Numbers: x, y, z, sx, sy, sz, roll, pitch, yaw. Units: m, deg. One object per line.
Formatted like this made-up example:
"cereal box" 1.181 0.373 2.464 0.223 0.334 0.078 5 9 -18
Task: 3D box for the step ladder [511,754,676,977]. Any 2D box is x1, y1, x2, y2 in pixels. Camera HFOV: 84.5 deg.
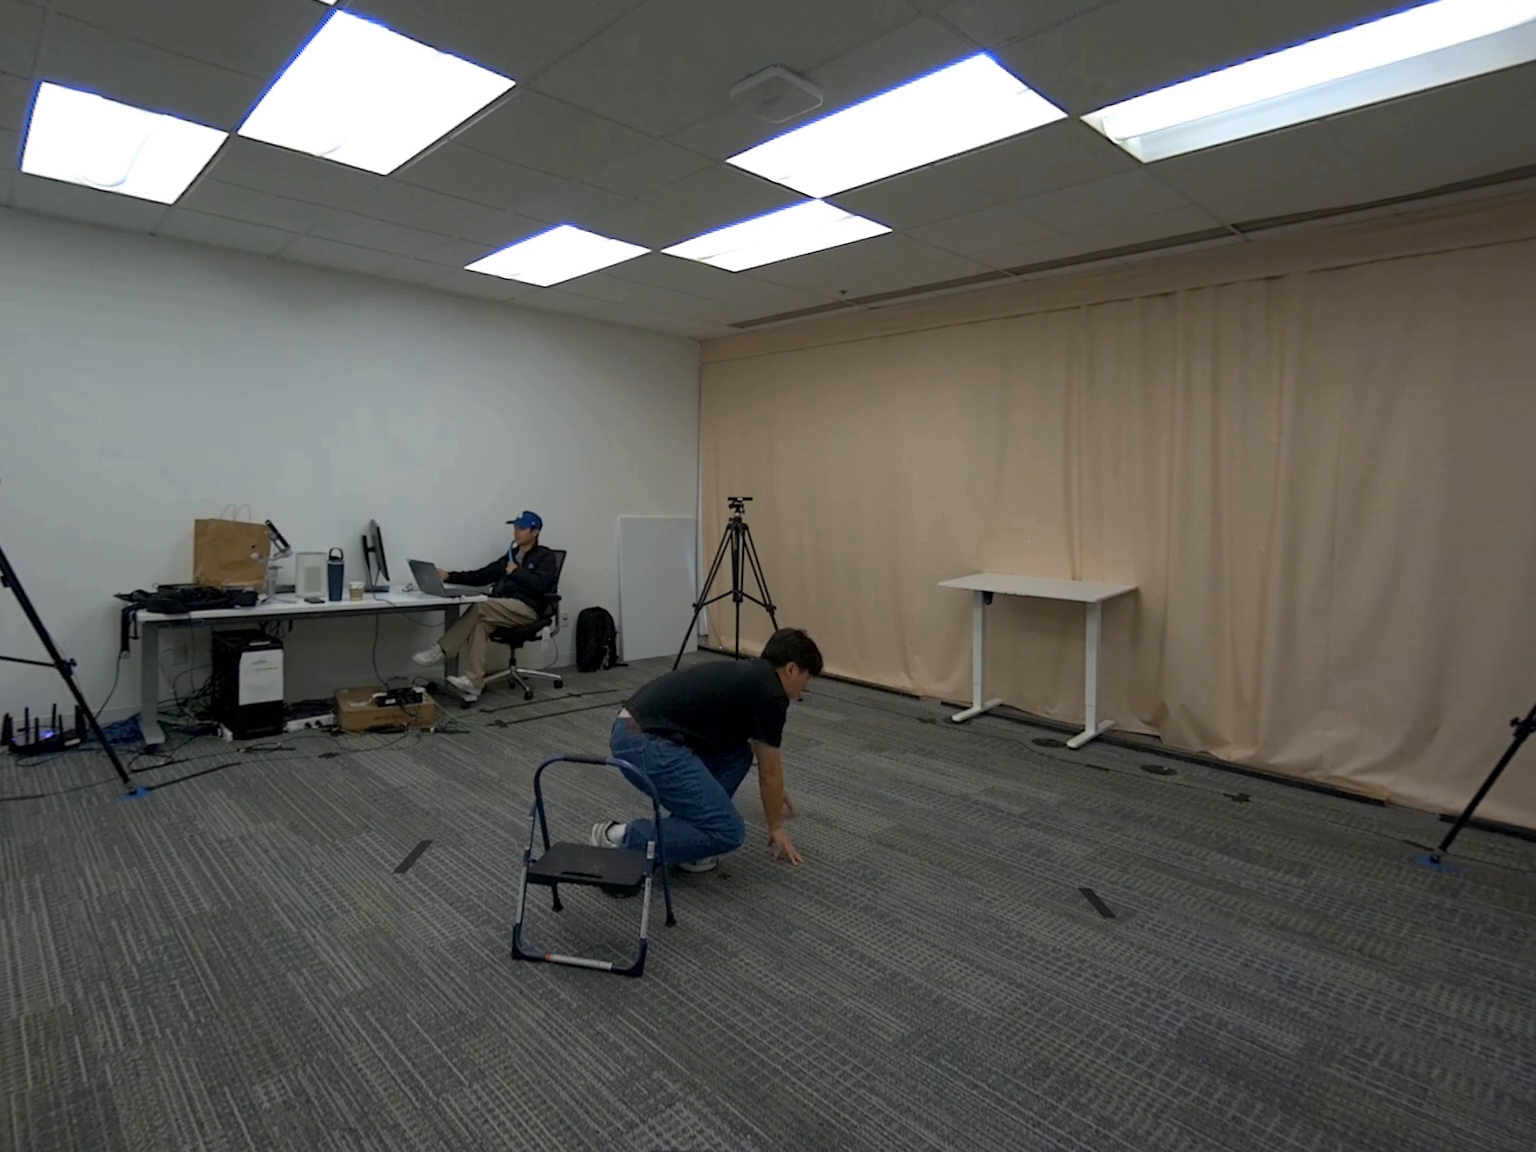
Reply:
"step ladder" -0.544 0.845 2.618 0.435 0.605 0.347 2 3 11
